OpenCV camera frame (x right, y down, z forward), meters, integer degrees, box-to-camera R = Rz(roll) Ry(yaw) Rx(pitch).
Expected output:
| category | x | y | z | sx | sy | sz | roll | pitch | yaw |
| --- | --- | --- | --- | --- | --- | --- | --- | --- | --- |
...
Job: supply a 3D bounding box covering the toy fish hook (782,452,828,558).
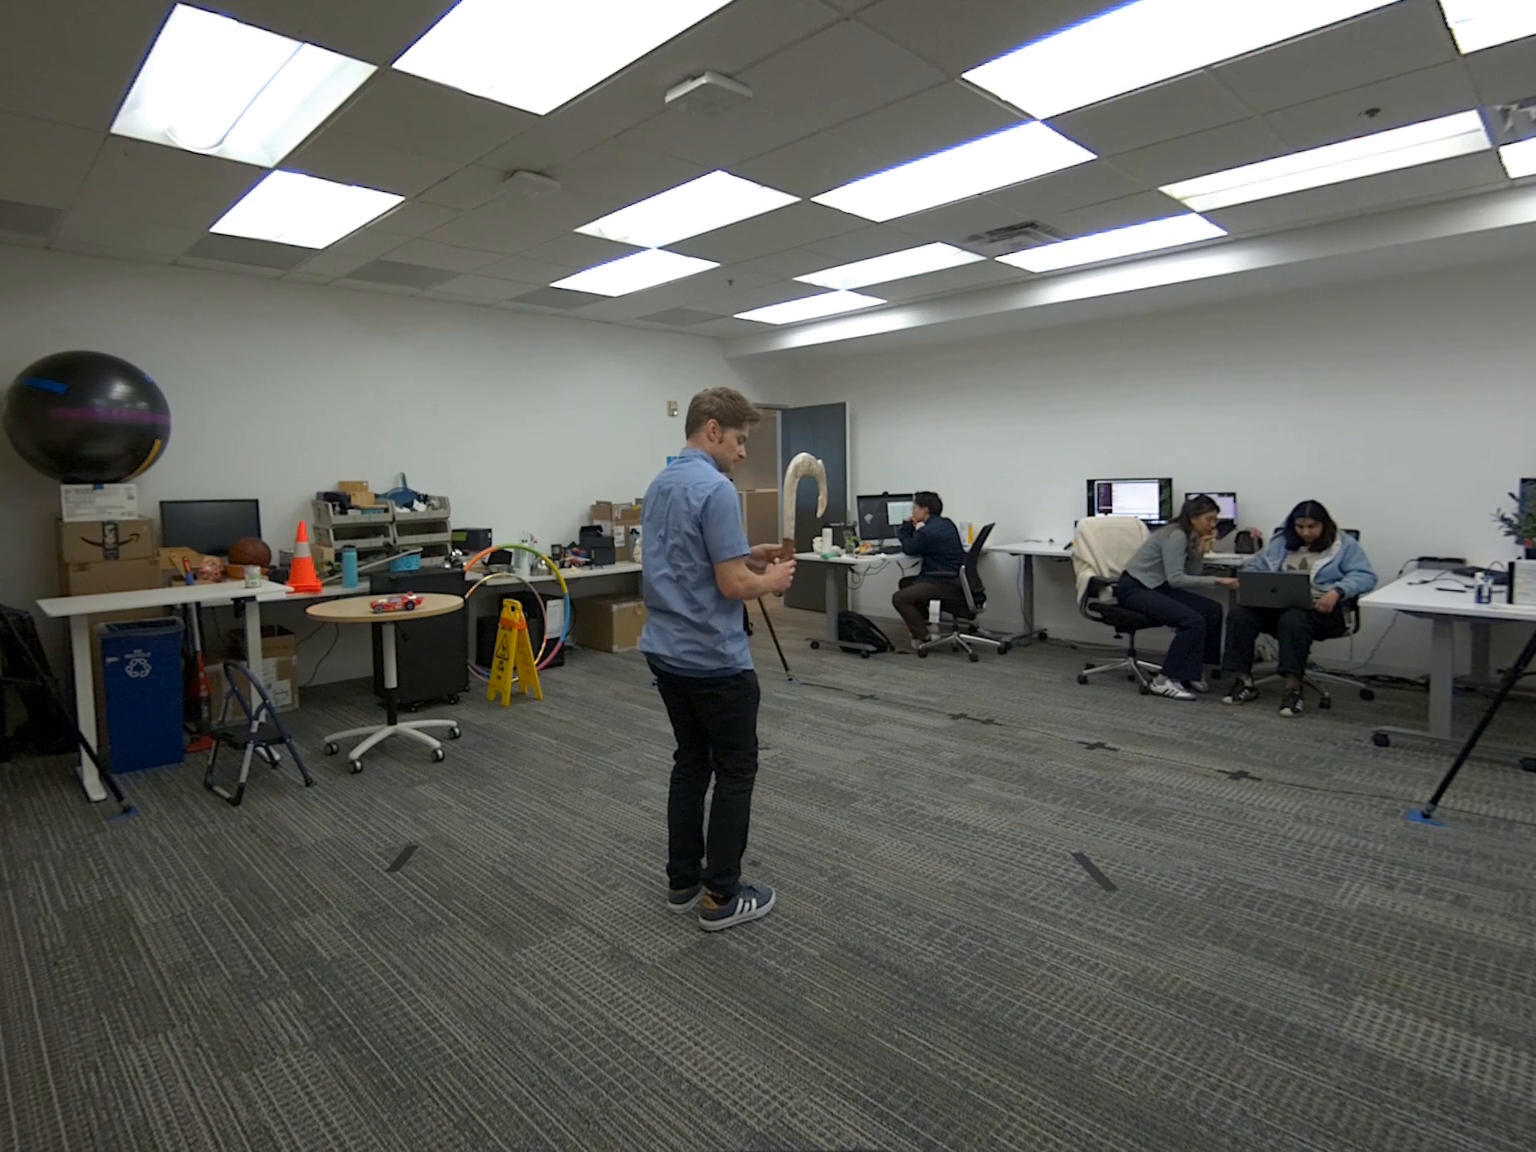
| category | x | y | z | sx | sy | sz | roll | pitch | yaw |
| --- | --- | --- | --- | --- | --- | --- | --- | --- | --- |
| toy fish hook | 0.118 | -0.164 | 2.913 | 0.216 | 0.510 | 0.050 | 21 | -14 | -41 |
